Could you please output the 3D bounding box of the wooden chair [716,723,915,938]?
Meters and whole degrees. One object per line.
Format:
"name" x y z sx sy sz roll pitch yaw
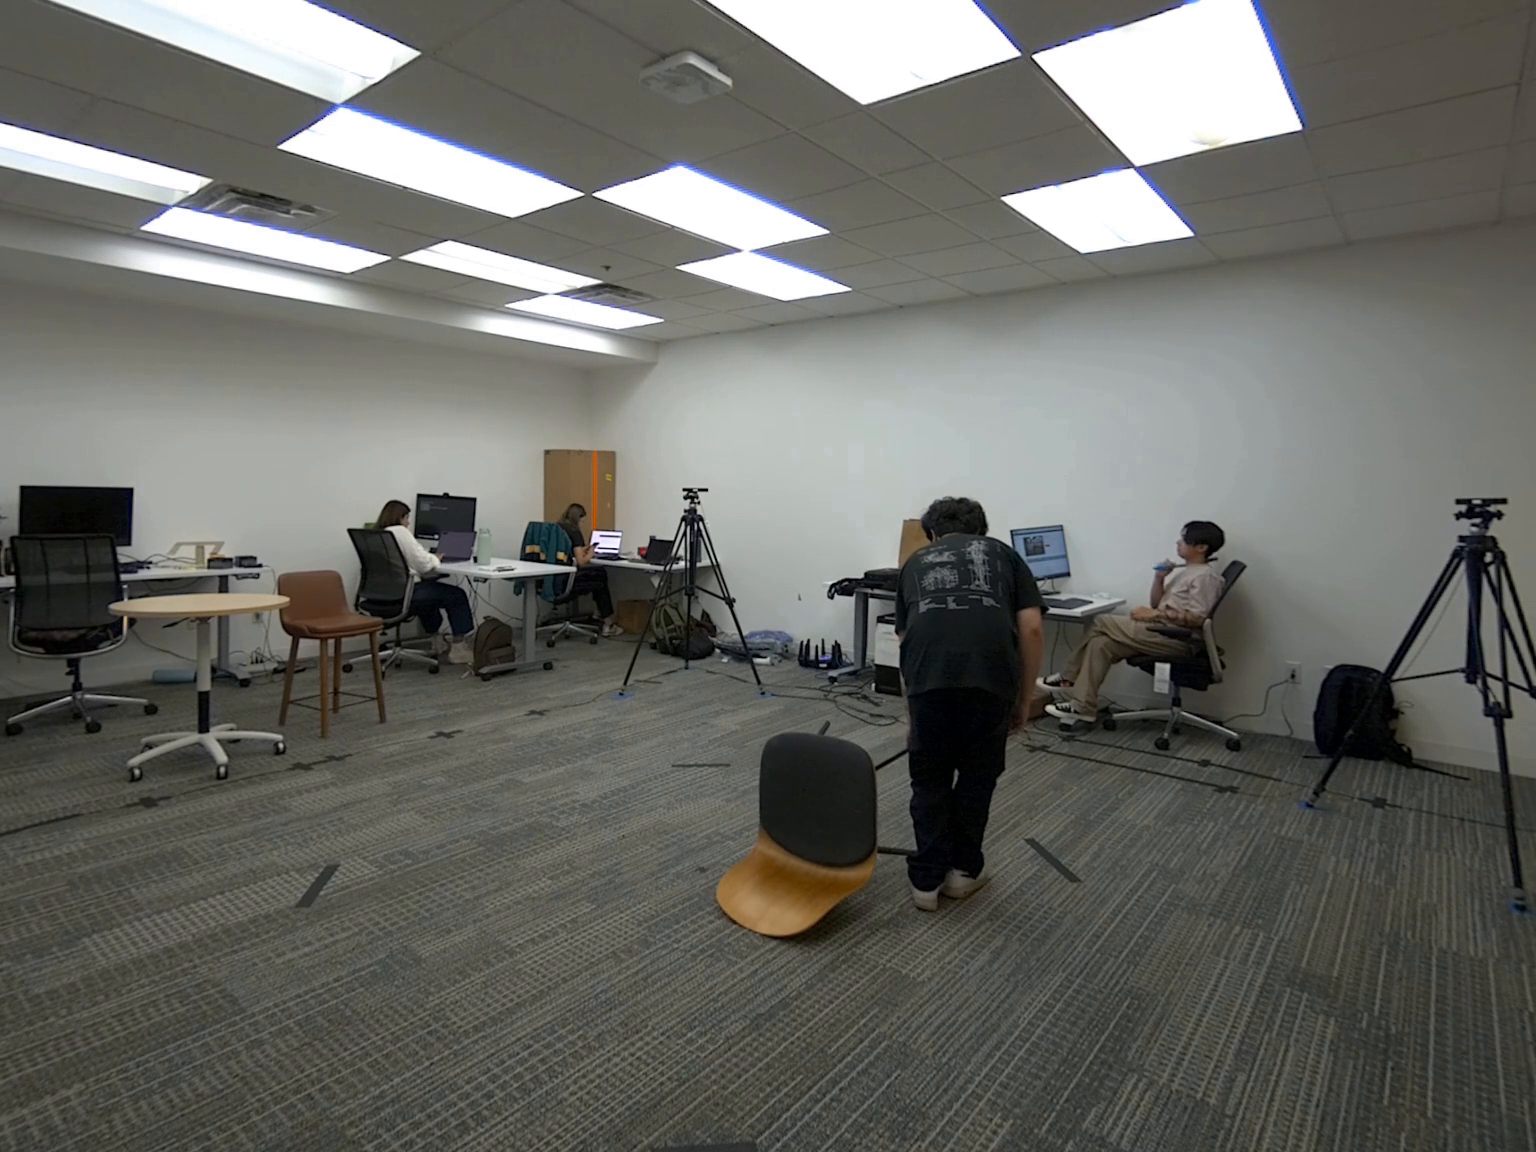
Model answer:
"wooden chair" 0.178 0.823 3.009 0.493 0.521 0.854 0 5 35
